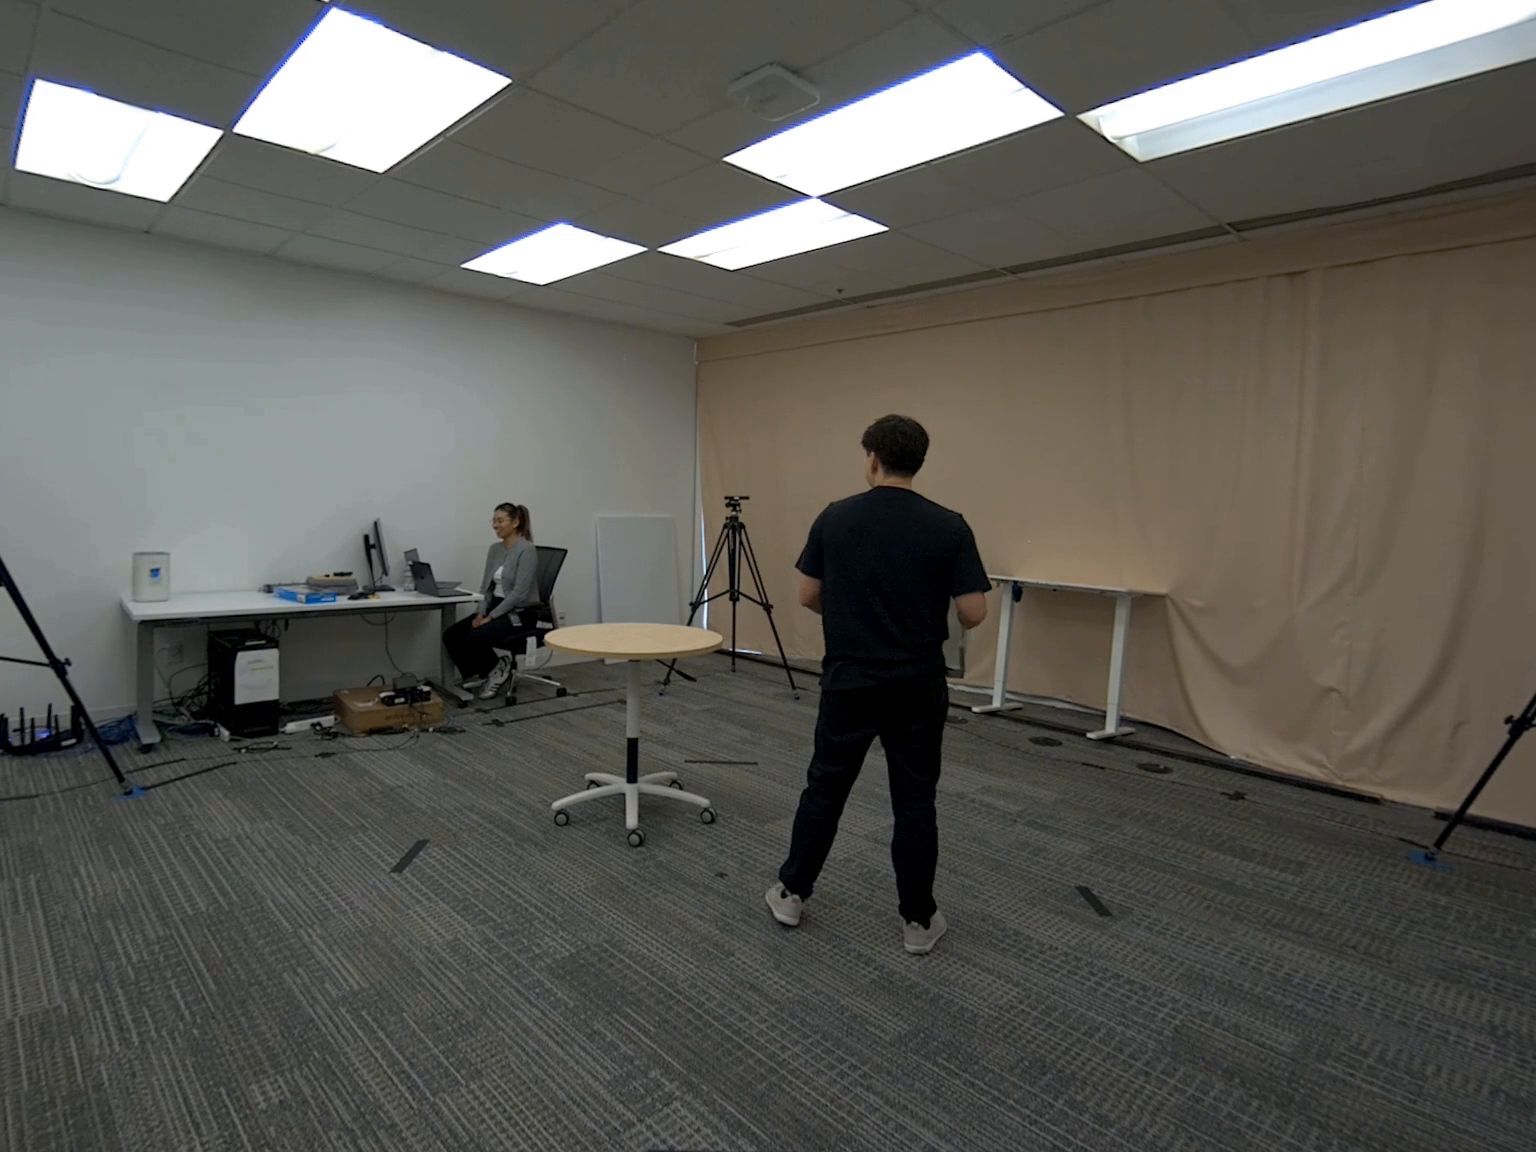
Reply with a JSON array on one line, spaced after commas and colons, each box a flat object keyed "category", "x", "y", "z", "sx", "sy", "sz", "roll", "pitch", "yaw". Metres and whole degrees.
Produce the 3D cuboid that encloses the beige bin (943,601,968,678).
[{"category": "beige bin", "x": 0.489, "y": 0.165, "z": 2.964, "sx": 0.429, "sy": 0.382, "sz": 0.183, "roll": 2, "pitch": -38, "yaw": 20}]
